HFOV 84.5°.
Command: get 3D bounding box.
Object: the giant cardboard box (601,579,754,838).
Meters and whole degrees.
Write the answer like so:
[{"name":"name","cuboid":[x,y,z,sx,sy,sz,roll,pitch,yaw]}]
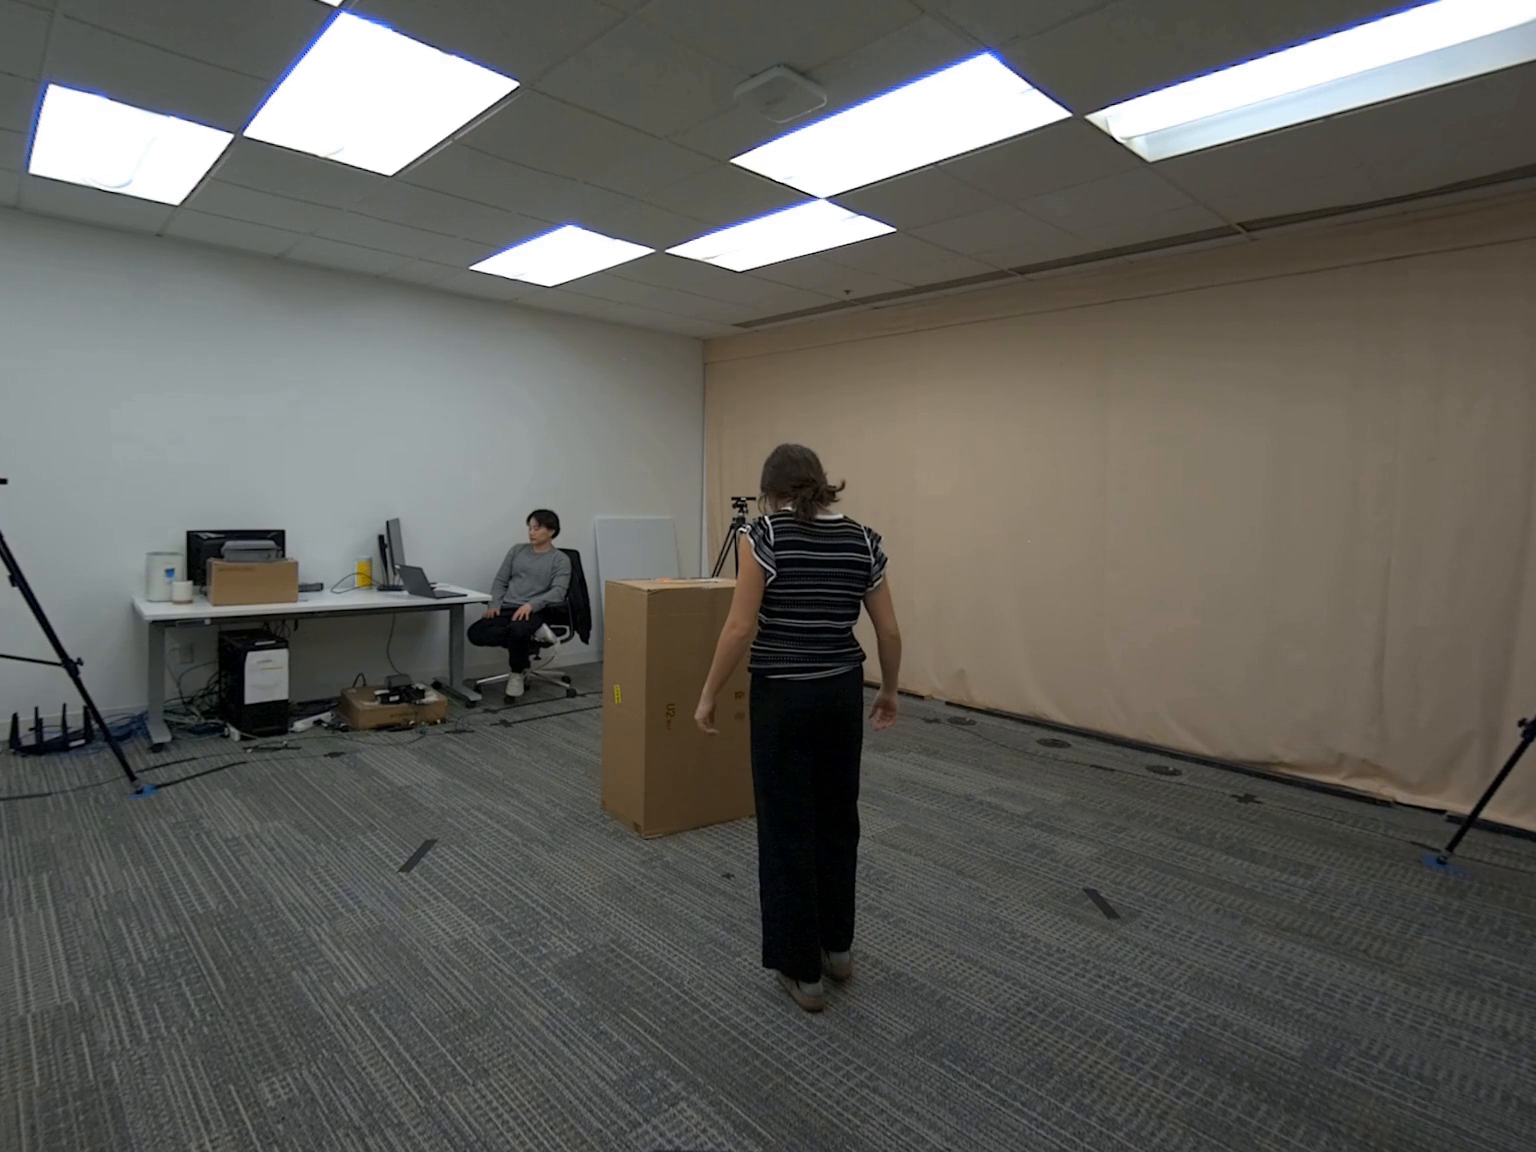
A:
[{"name":"giant cardboard box","cuboid":[-0.392,0.539,3.720,0.565,1.024,0.436,-1,3,-34]}]
